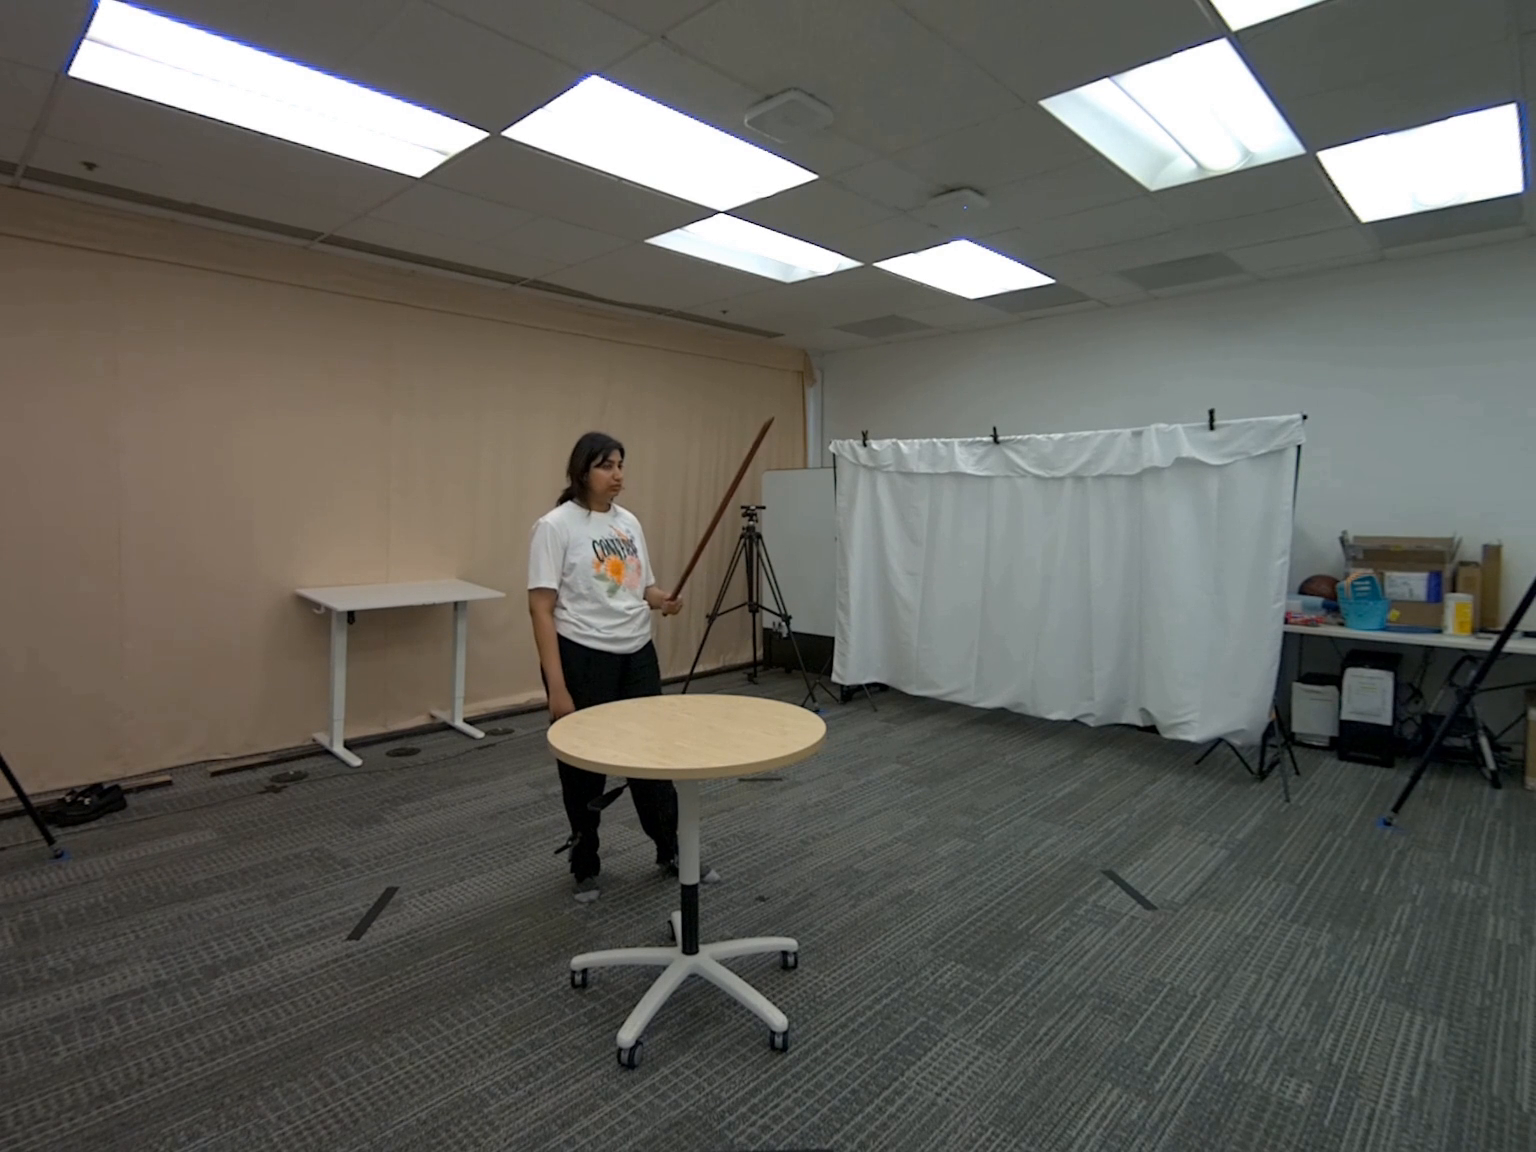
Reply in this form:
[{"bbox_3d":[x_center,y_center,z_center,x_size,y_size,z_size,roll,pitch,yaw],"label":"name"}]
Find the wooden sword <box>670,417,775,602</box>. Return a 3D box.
[{"bbox_3d":[-0.184,-0.137,2.649,0.050,0.024,1.024,-13,-28,-33],"label":"wooden sword"}]
